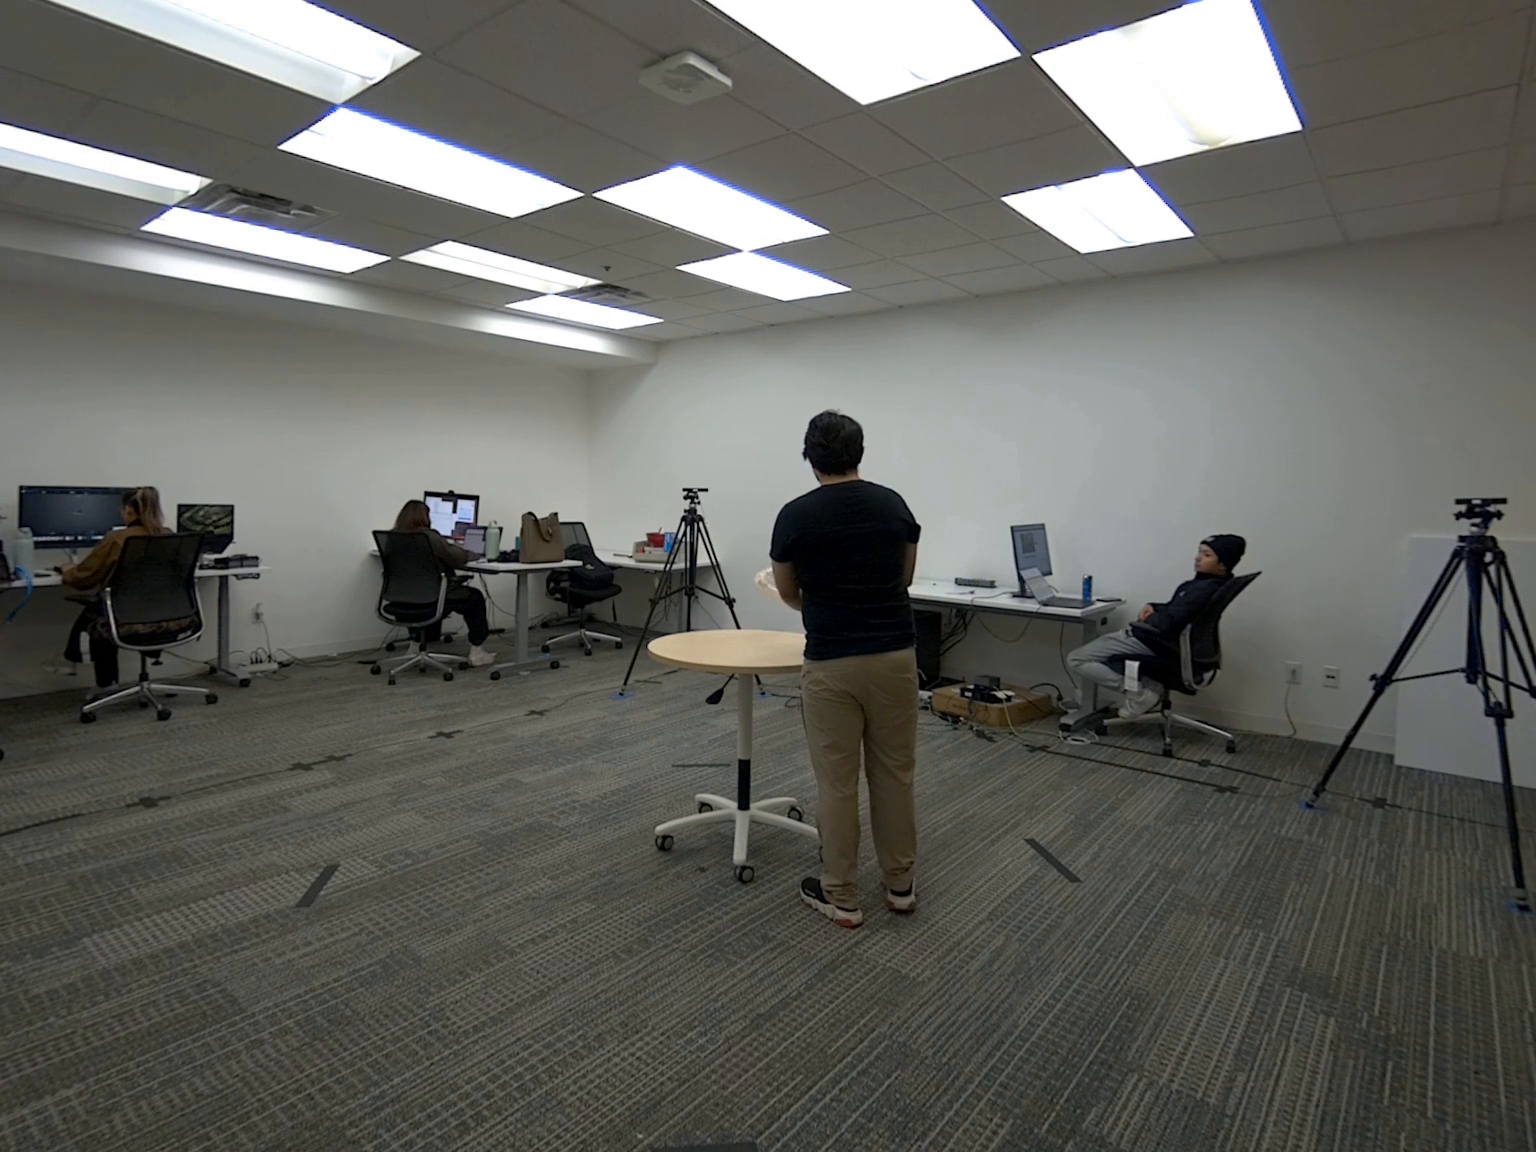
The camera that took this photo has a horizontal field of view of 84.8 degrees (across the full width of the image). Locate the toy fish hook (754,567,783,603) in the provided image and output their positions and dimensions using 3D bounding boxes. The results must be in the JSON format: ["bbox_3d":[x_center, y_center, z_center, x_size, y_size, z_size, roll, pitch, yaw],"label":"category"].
[{"bbox_3d":[0.167,0.076,3.280,0.222,0.047,0.528,-29,42,-27],"label":"toy fish hook"}]
